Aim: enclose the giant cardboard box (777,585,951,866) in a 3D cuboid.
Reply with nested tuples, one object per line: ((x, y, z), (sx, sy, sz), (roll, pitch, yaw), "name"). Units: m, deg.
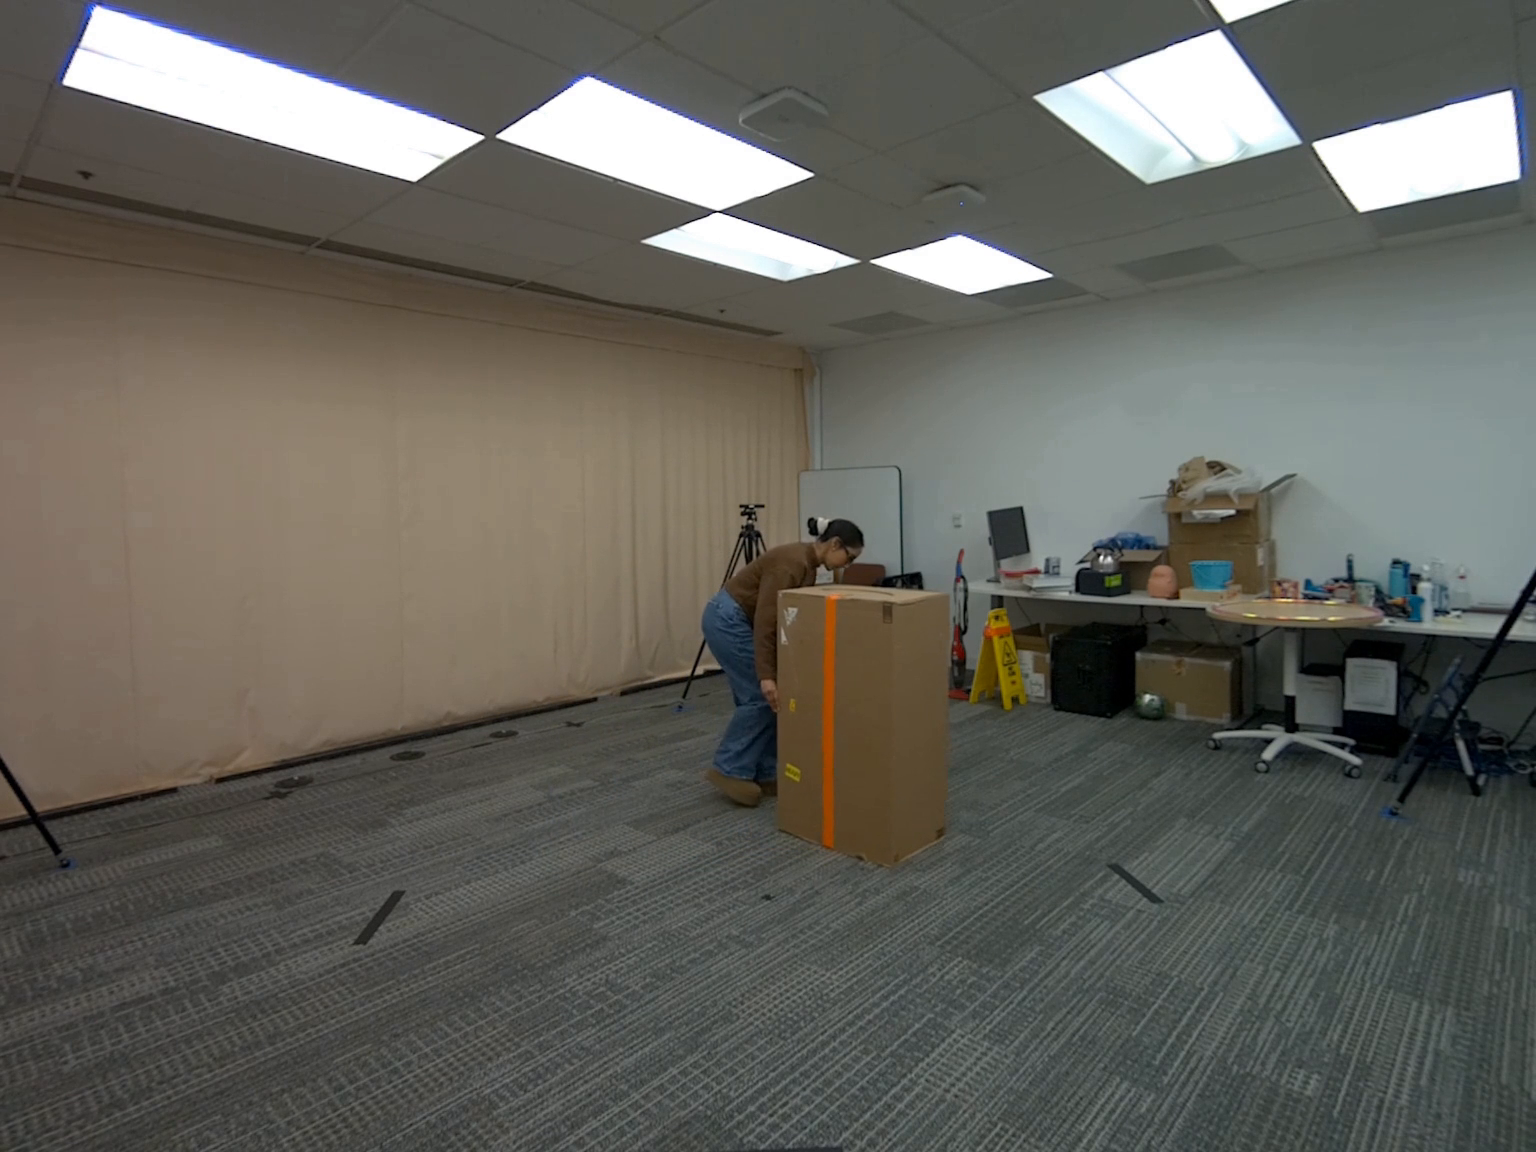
((0.393, 0.578, 3.517), (0.597, 1.023, 0.413), (3, 5, 43), "giant cardboard box")
